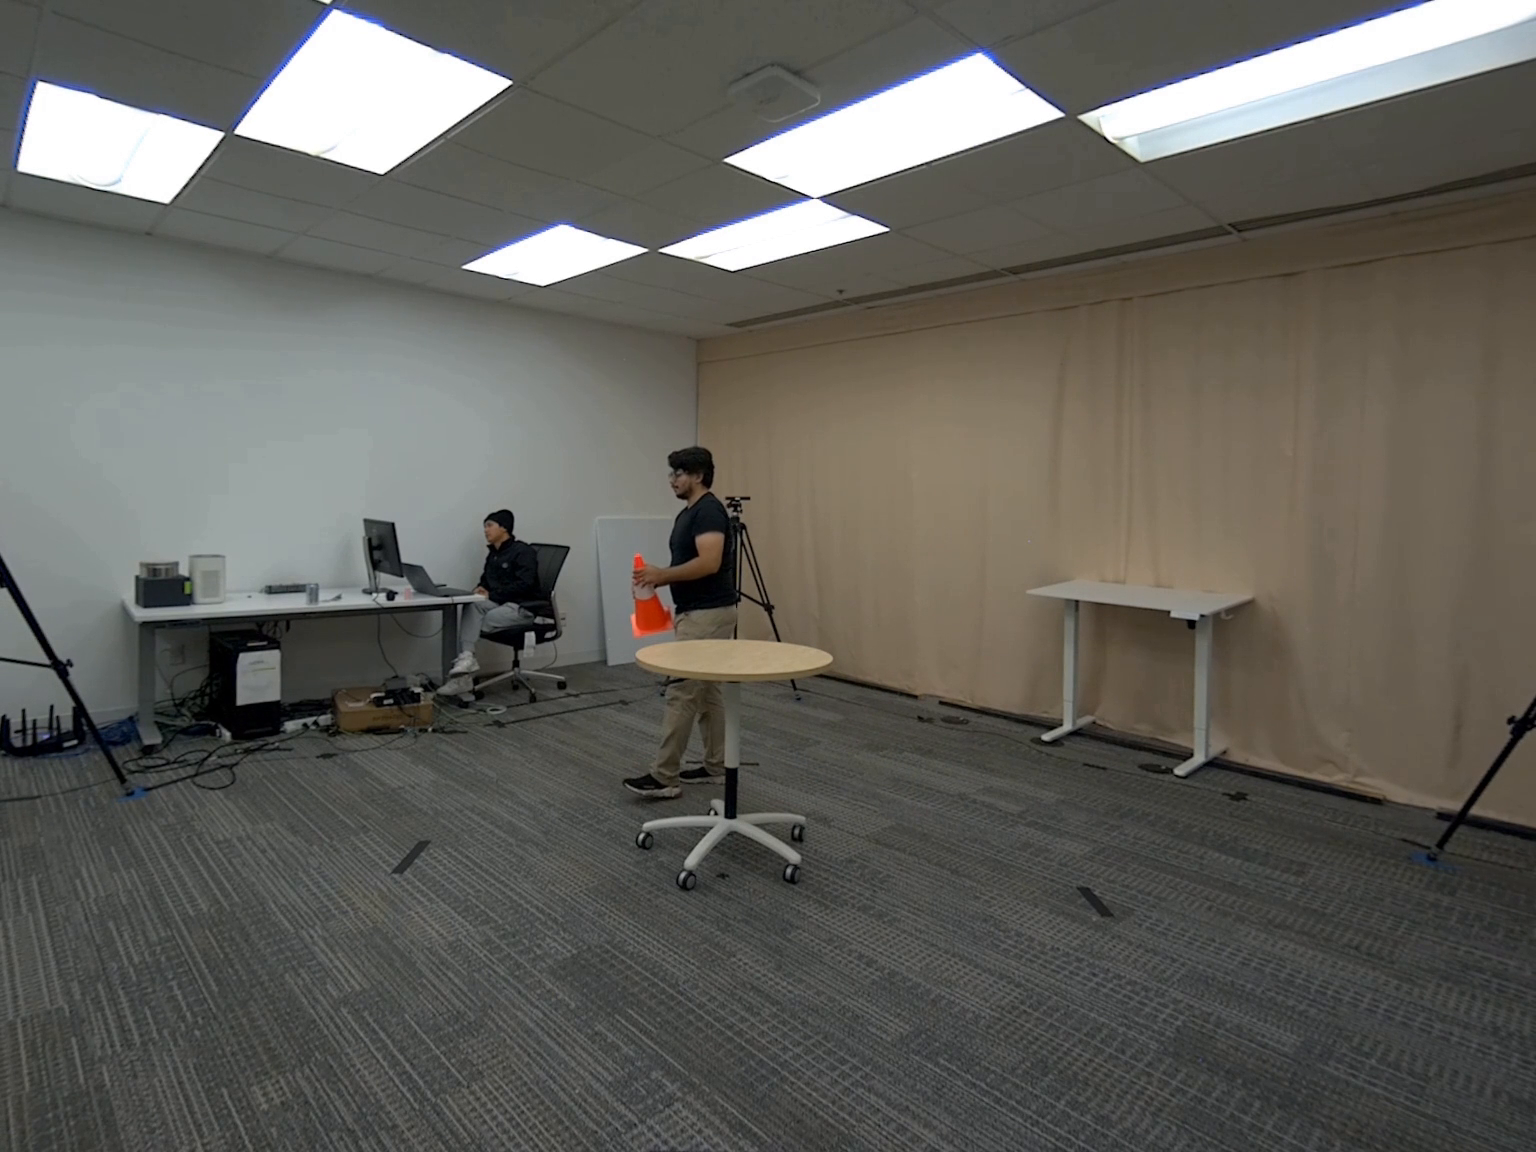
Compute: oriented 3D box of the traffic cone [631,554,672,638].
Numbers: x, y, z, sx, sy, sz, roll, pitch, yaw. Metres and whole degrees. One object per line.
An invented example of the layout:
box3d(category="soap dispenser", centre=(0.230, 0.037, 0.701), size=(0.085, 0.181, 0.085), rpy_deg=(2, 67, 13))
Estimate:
box3d(category="traffic cone", centre=(-0.599, 0.066, 4.022), size=(0.204, 0.375, 0.208), rpy_deg=(-12, 31, -4))
